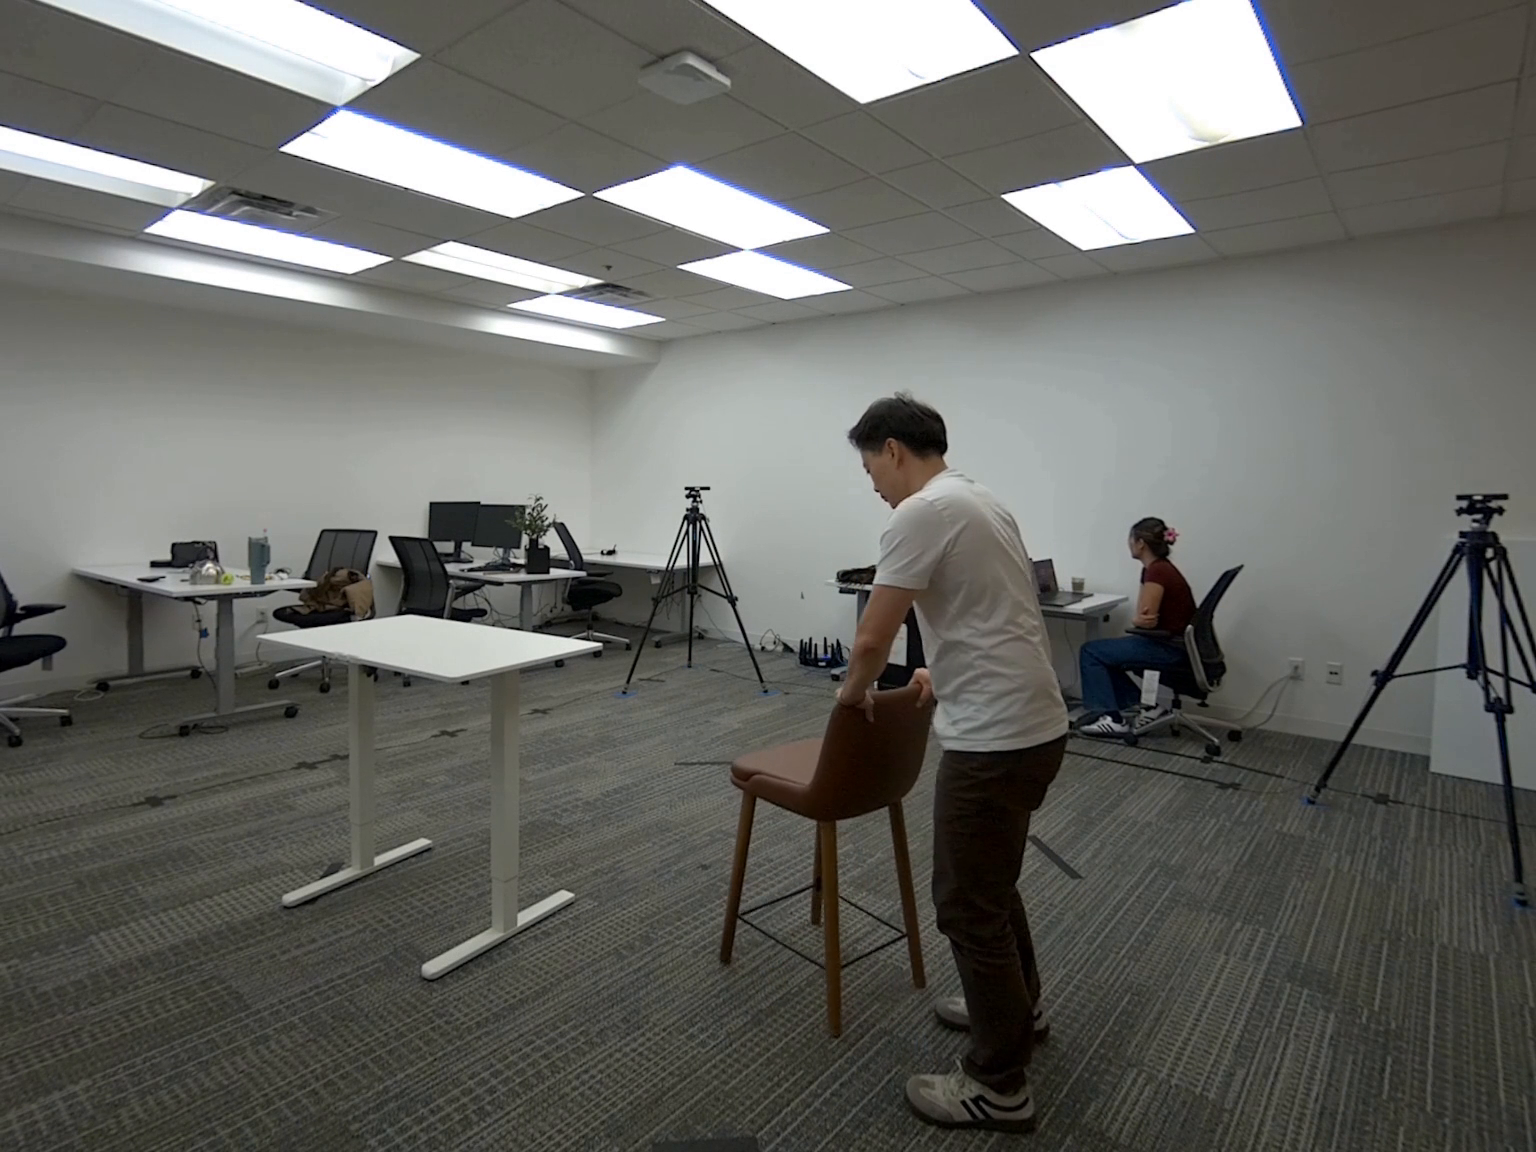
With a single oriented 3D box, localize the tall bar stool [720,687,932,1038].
[{"bbox_3d":[0.166,0.703,2.417,0.443,0.886,0.484,-2,7,-41],"label":"tall bar stool"}]
